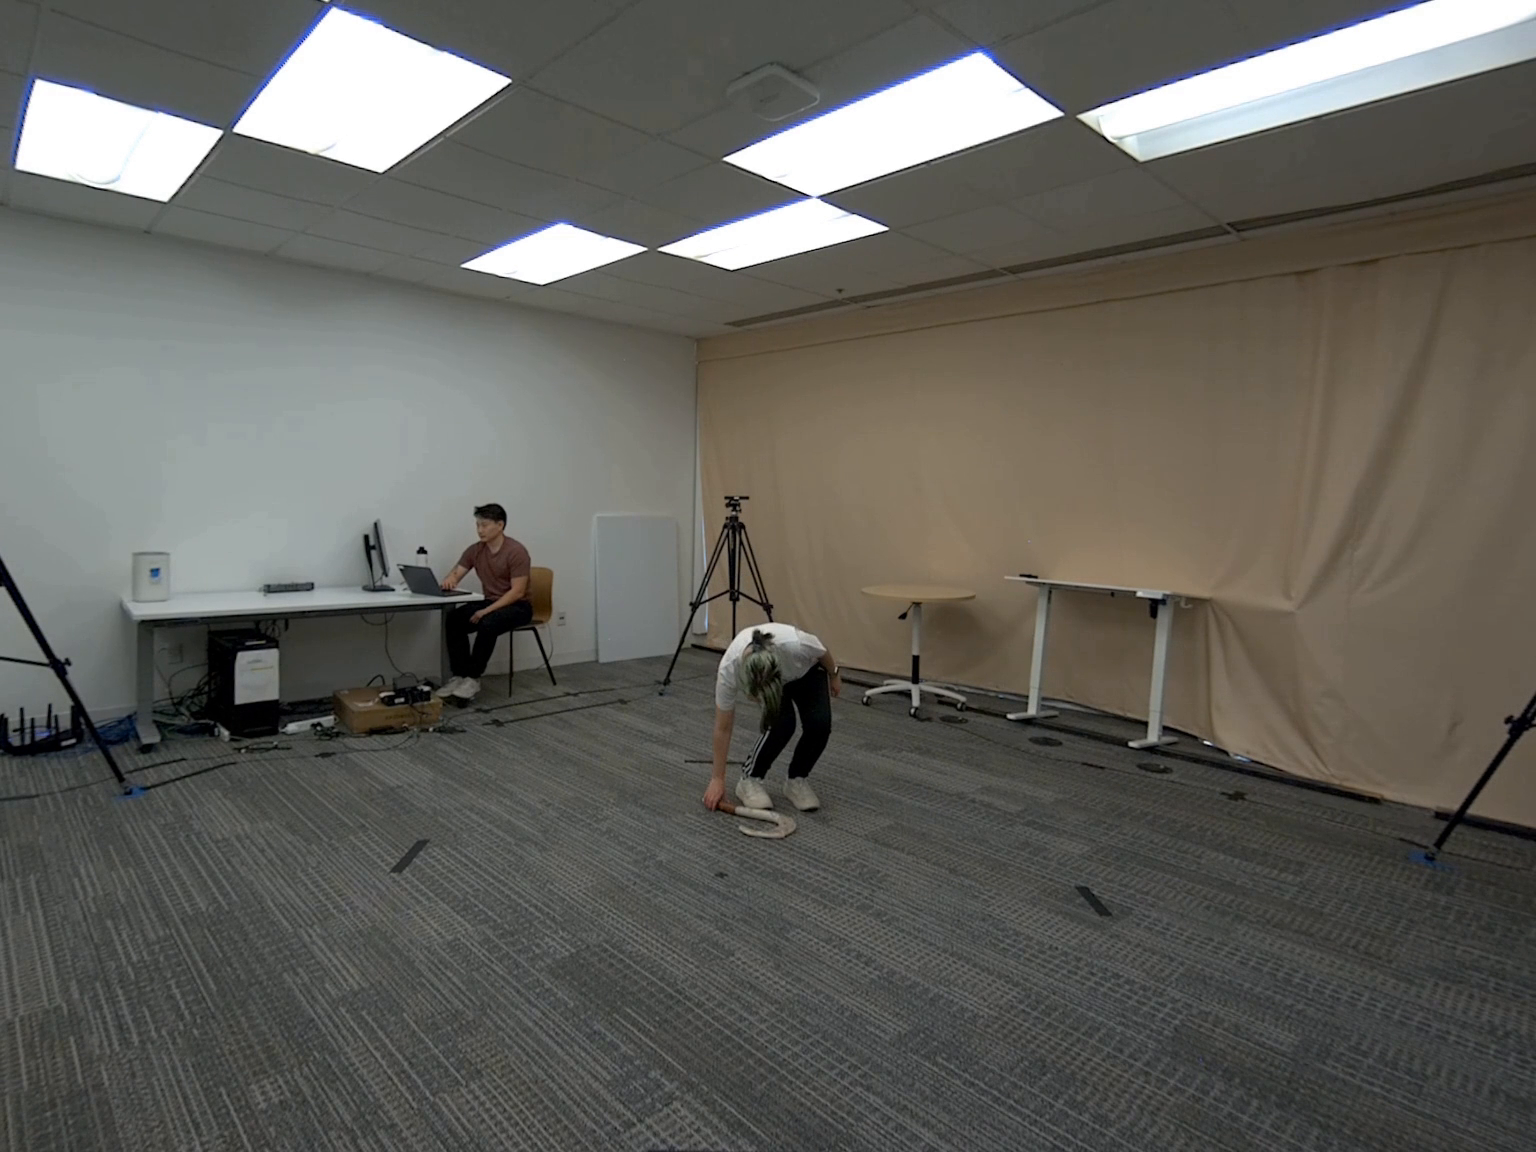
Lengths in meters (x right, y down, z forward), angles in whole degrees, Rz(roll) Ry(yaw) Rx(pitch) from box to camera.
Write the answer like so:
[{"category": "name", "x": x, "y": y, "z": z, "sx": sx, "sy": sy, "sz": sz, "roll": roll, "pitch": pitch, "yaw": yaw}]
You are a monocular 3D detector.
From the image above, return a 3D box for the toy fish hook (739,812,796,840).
[{"category": "toy fish hook", "x": -0.123, "y": 1.038, "z": 3.629, "sx": 0.519, "sy": 0.048, "sz": 0.219, "roll": 5, "pitch": 4, "yaw": 37}]
